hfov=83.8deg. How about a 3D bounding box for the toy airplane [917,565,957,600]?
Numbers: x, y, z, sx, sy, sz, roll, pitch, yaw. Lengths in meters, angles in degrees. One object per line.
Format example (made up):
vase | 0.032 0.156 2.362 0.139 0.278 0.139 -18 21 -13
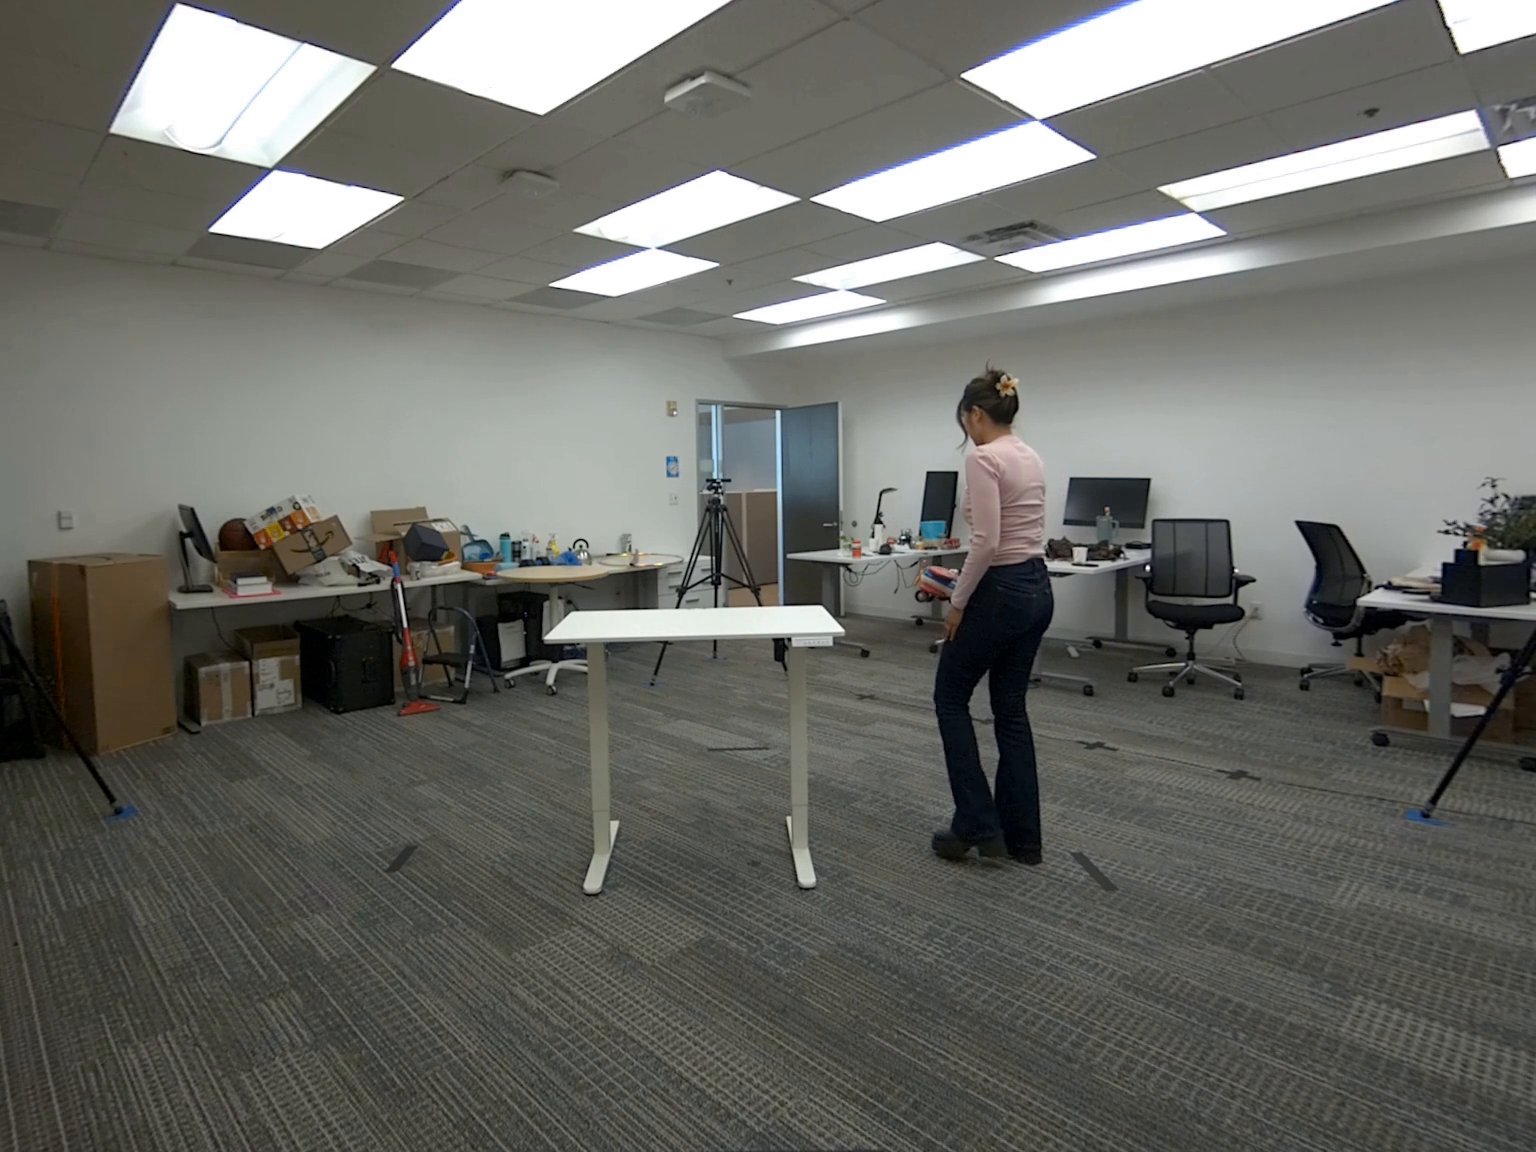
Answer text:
toy airplane | 0.723 0.053 3.480 0.259 0.156 0.251 11 4 0
